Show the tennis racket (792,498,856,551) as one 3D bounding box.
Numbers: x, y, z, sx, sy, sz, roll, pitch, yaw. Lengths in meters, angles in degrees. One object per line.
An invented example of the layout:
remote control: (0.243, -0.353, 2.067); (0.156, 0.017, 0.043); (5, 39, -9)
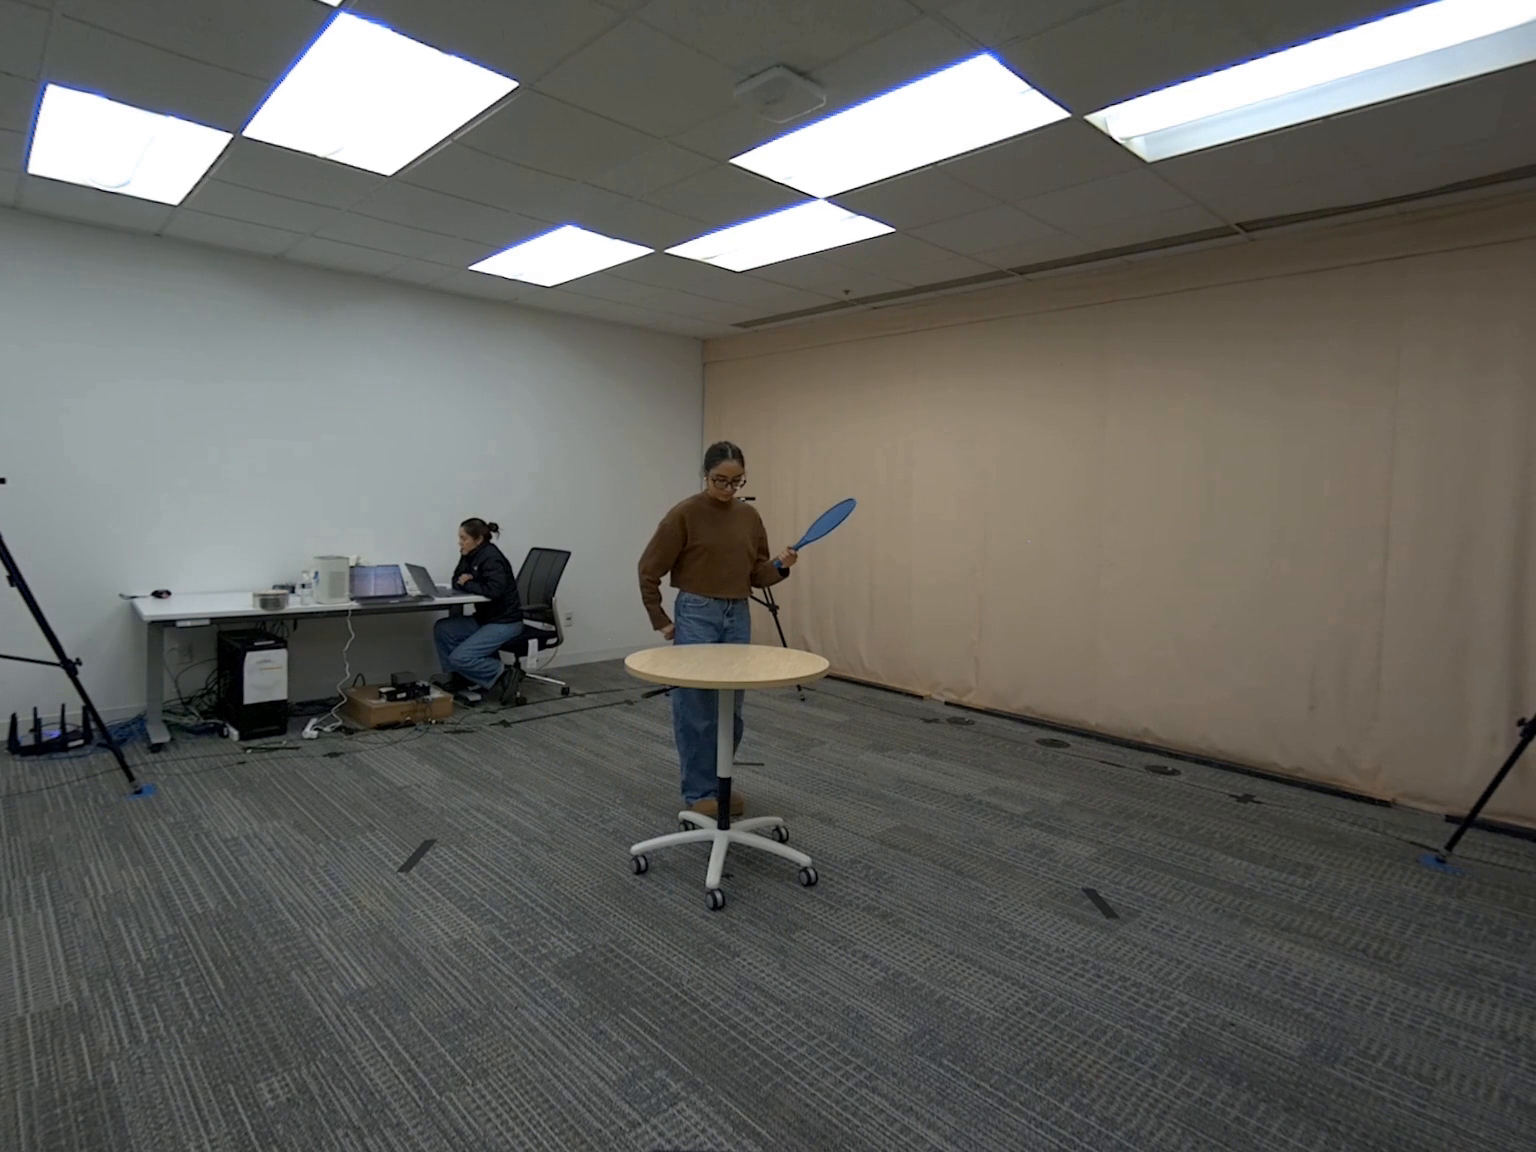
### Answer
tennis racket: (0.185, -0.178, 3.500); (0.433, 0.031, 0.218); (-40, 22, 9)
